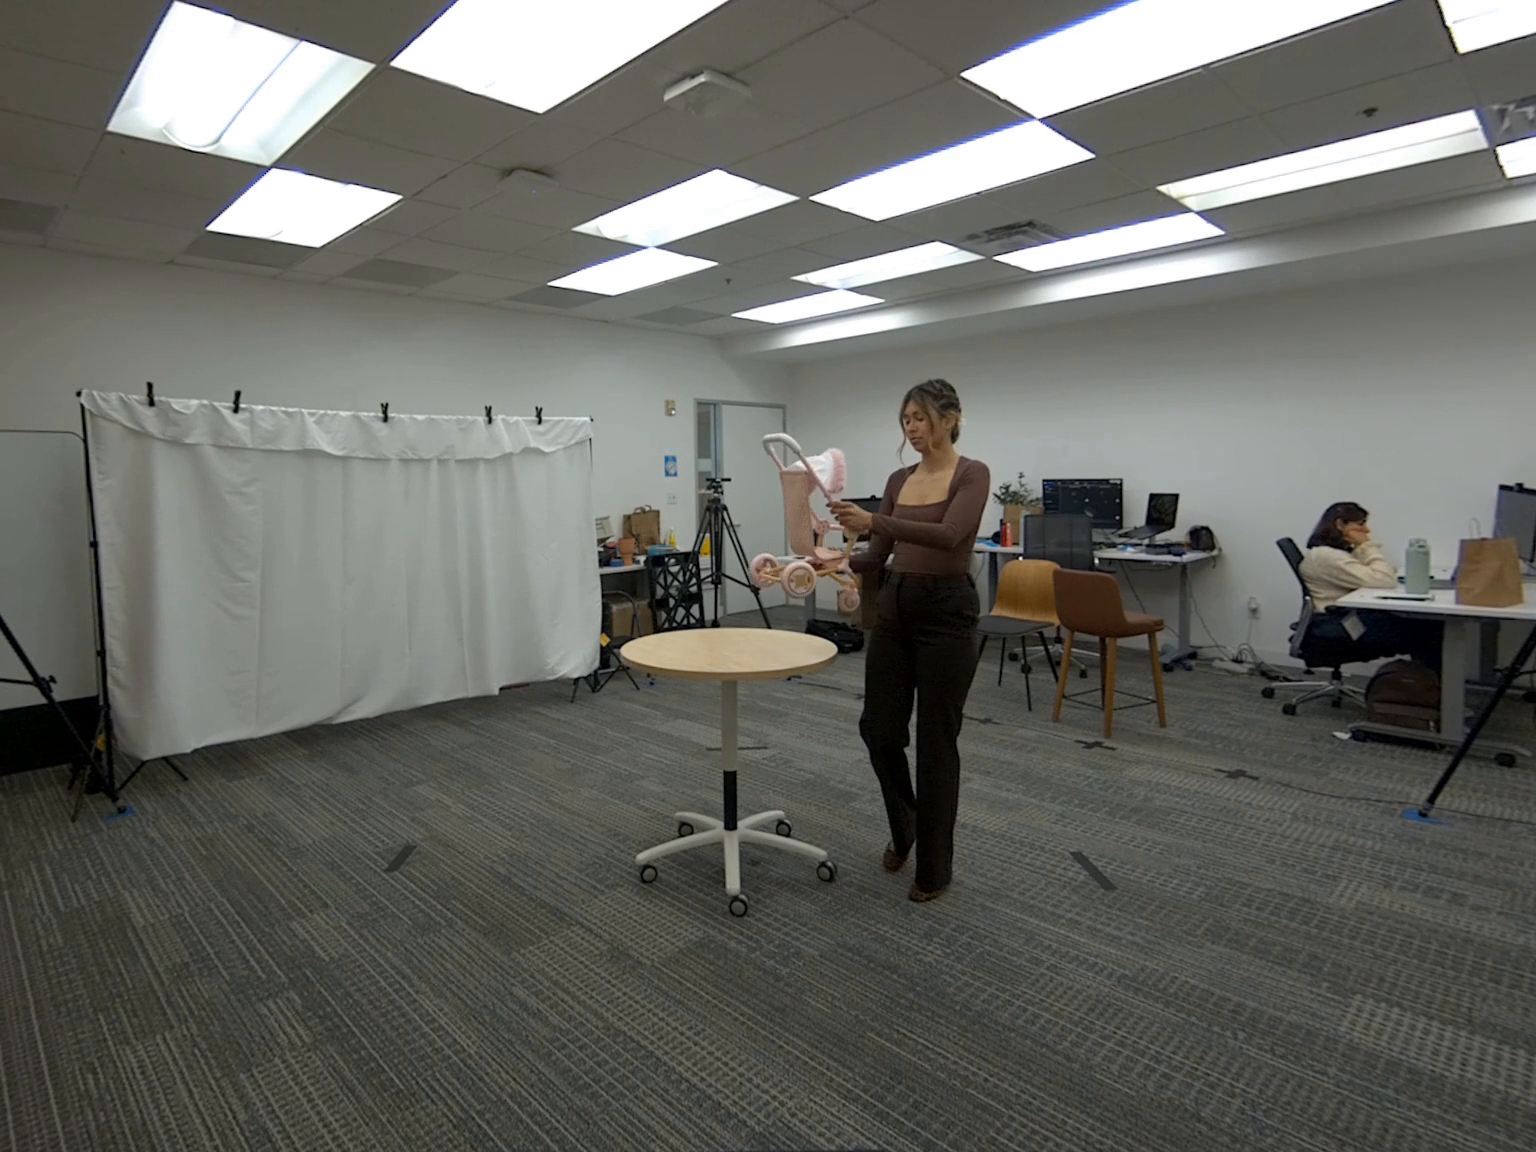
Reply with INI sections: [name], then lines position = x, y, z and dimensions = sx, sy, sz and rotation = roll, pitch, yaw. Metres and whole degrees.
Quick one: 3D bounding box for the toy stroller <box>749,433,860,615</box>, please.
[toy stroller]
position = 0.161, -0.154, 2.631
dimensions = 0.335, 0.534, 0.287
rotation = 2, 2, -18
